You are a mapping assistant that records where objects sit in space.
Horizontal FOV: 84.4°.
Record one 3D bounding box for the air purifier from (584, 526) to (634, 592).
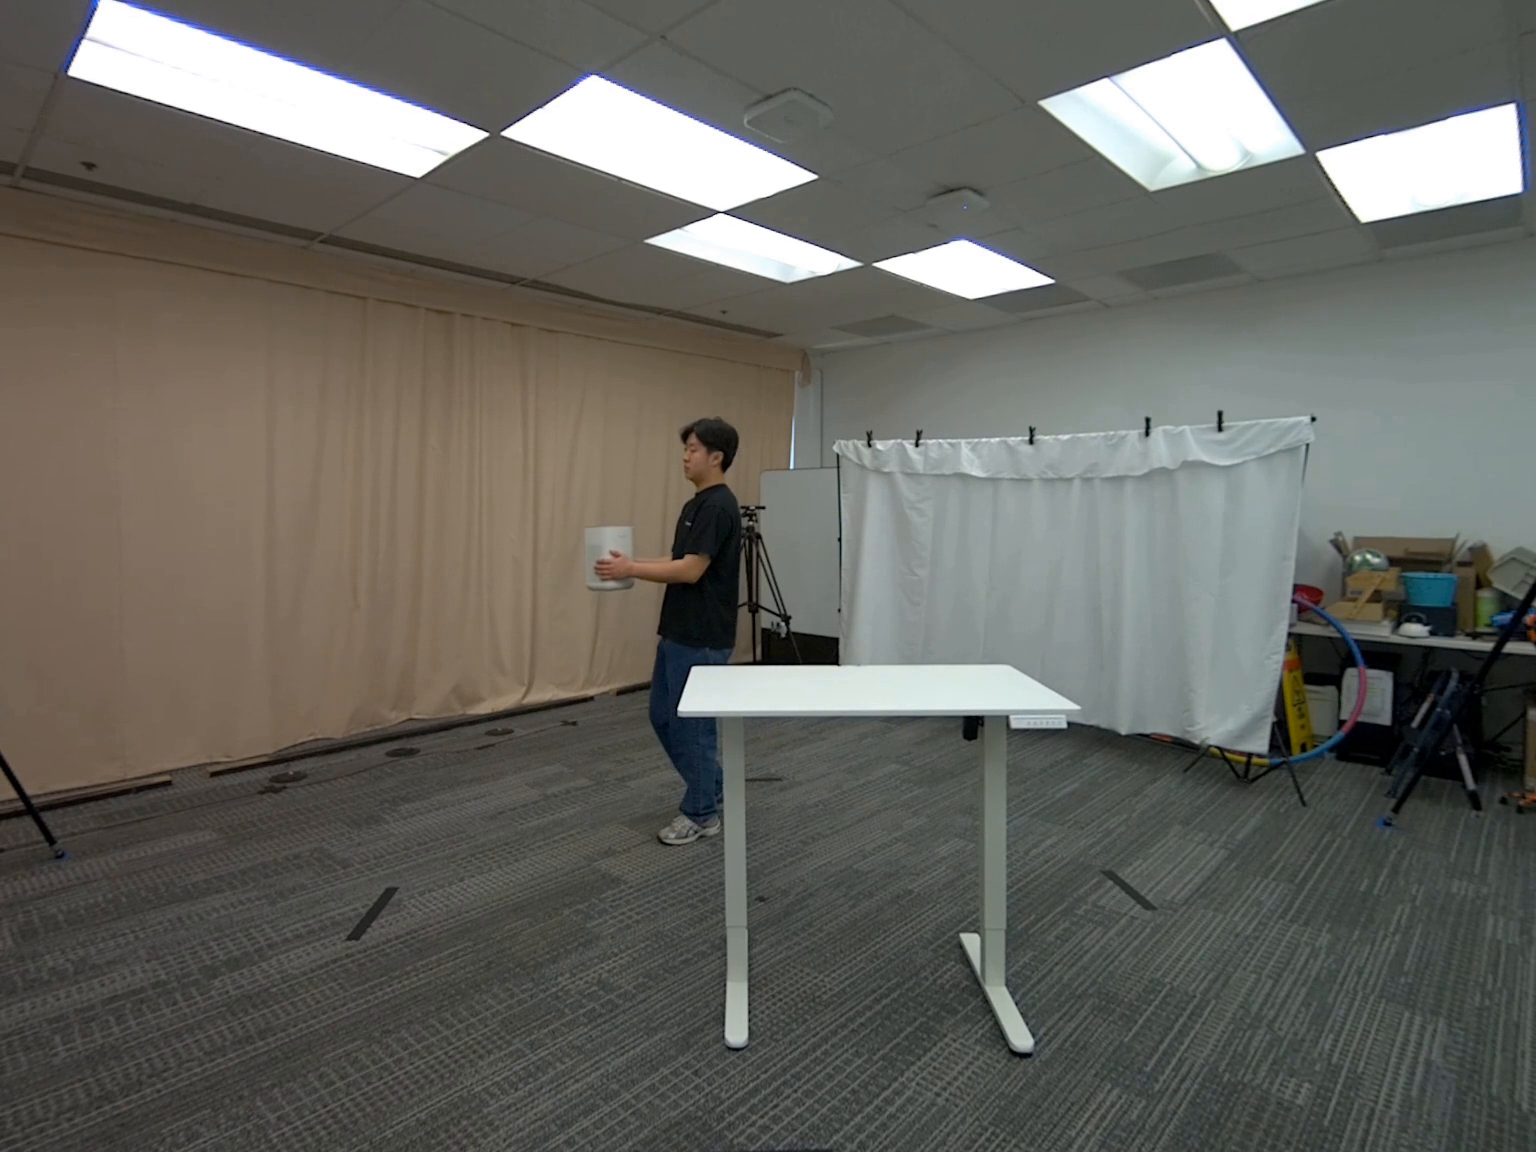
[{"bbox_3d":[-0.654,-0.076,3.475,0.177,0.265,0.166,-1,2,35],"label":"air purifier"}]
